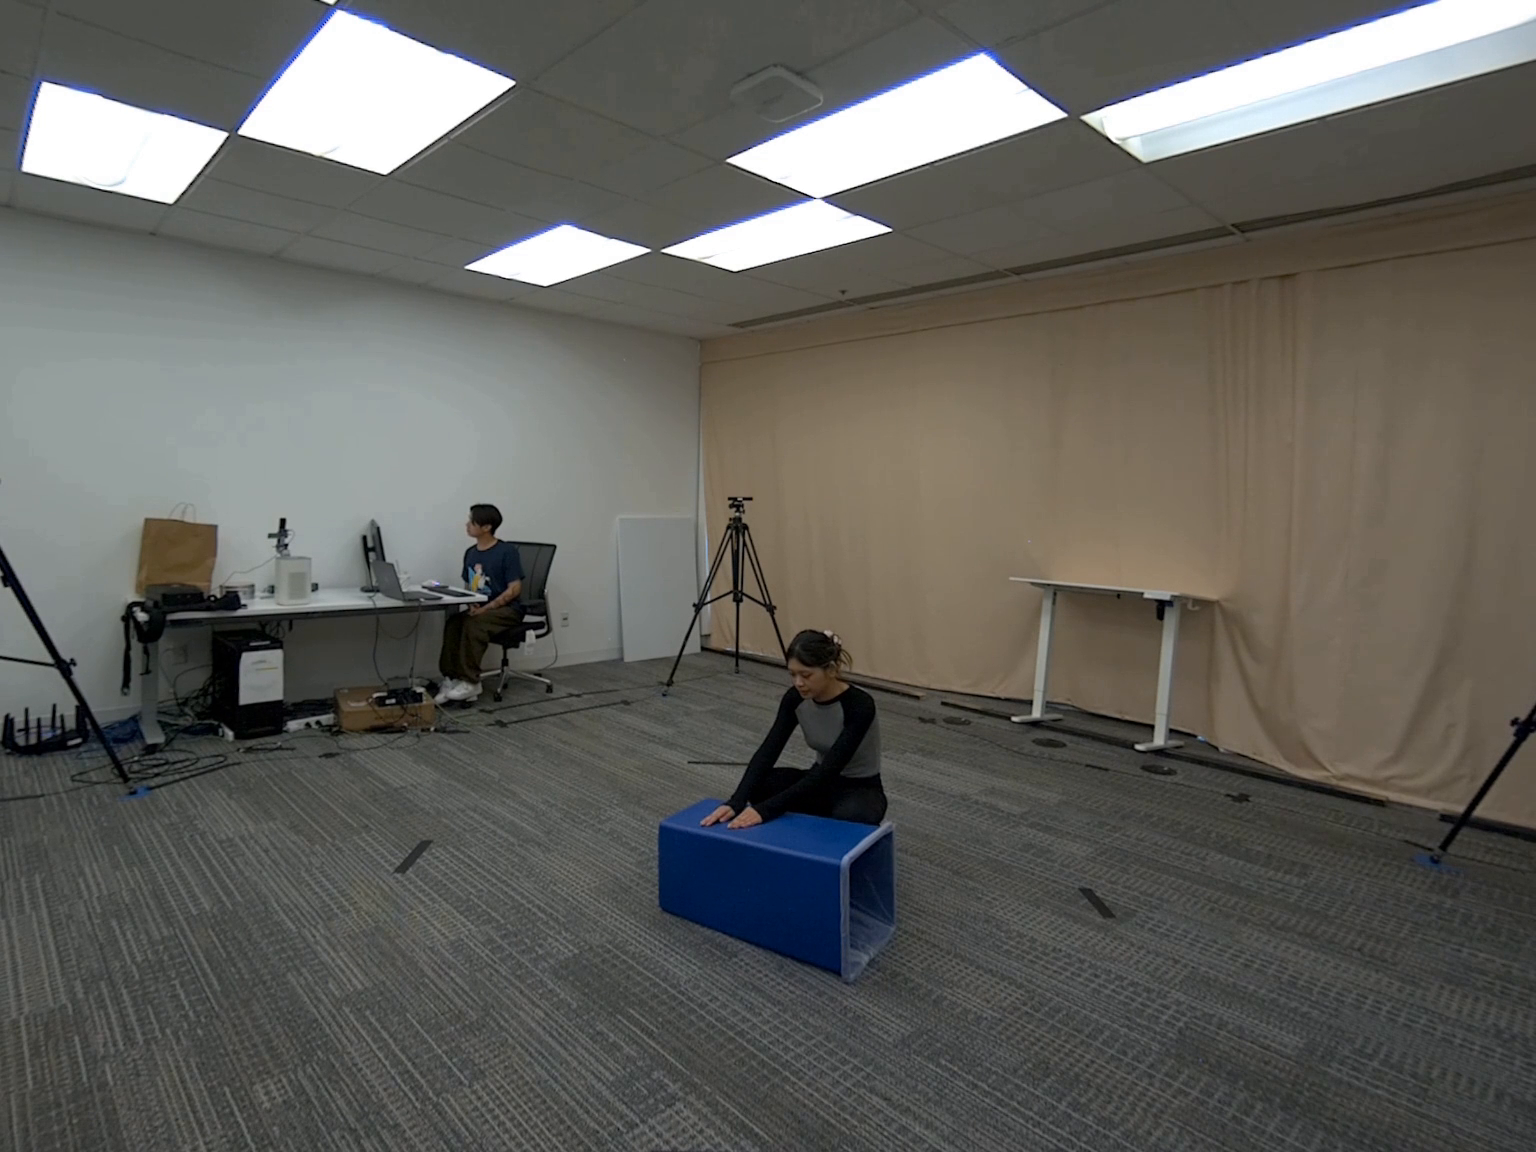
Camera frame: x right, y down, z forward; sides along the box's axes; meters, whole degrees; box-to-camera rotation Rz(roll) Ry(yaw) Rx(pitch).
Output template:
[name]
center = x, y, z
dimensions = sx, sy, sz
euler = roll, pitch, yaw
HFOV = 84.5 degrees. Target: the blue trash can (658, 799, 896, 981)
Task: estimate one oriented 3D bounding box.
[blue trash can]
center = 0.011, 0.975, 2.757
dimensions = 0.729, 0.377, 0.367
euler = 1, 4, 33
